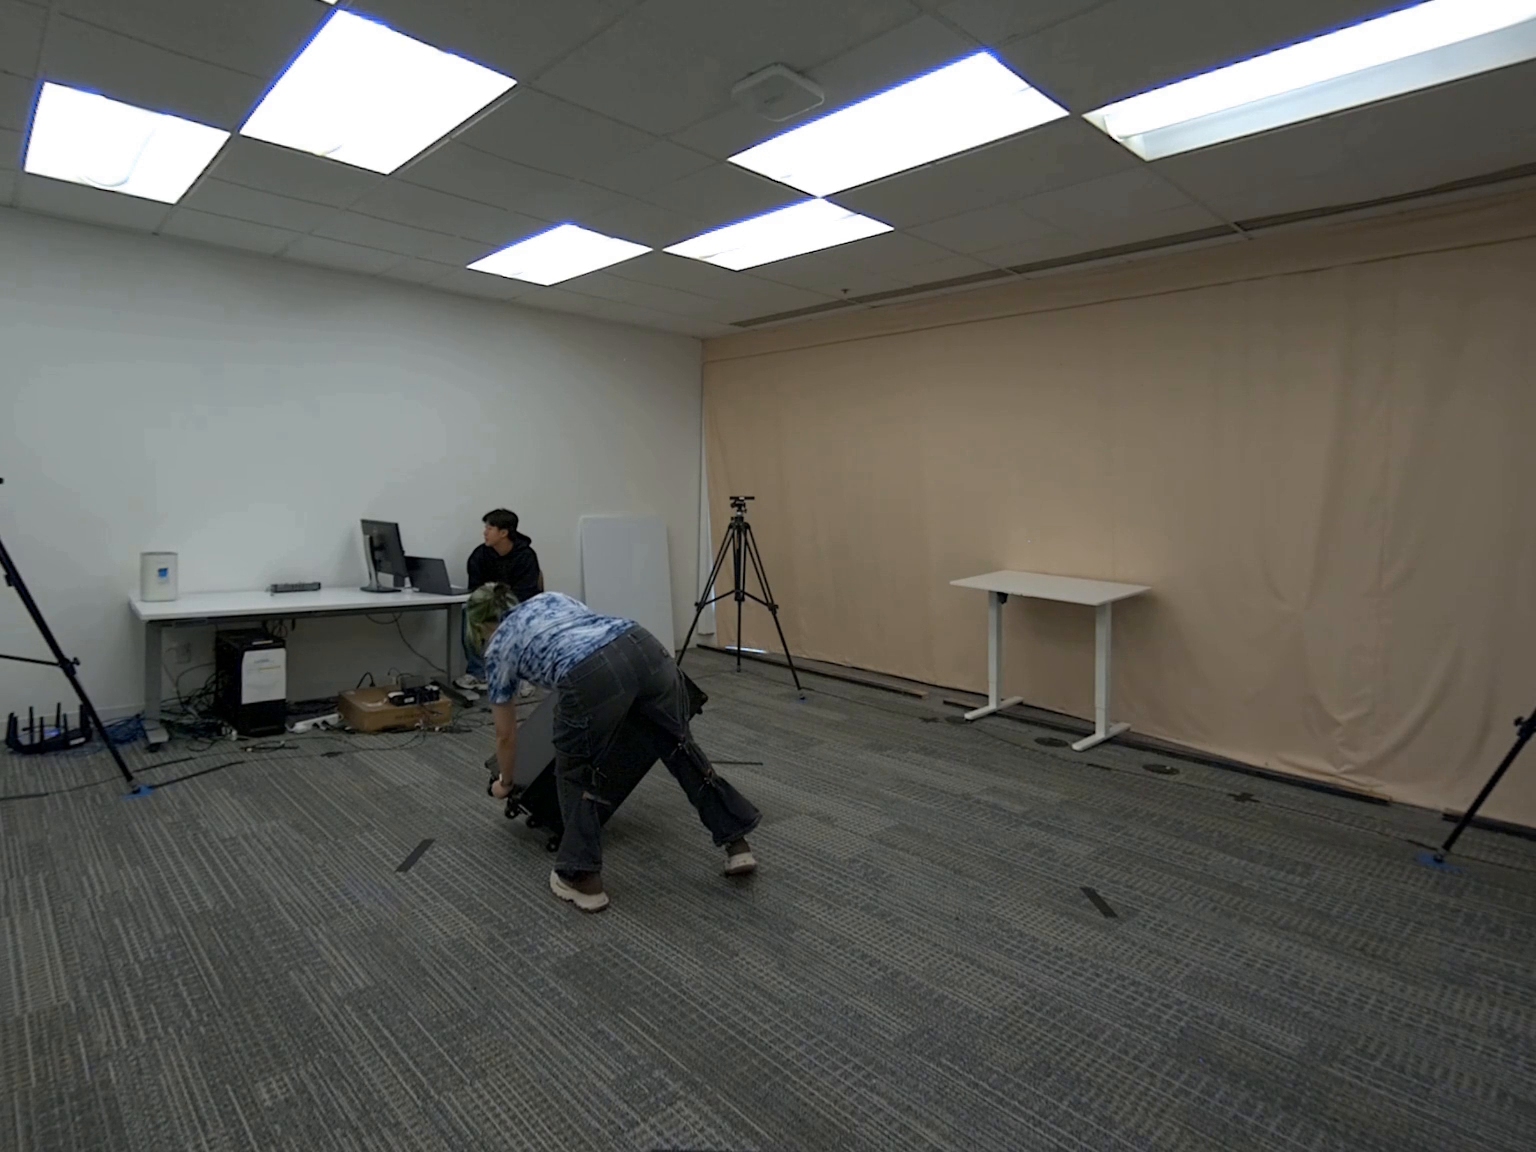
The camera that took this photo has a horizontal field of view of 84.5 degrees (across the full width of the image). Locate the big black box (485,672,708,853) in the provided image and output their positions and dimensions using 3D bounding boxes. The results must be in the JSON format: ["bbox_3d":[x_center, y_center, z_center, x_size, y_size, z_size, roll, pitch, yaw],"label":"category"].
[{"bbox_3d":[-0.690,0.634,3.504,0.387,0.862,0.533,49,-19,-25],"label":"big black box"}]
